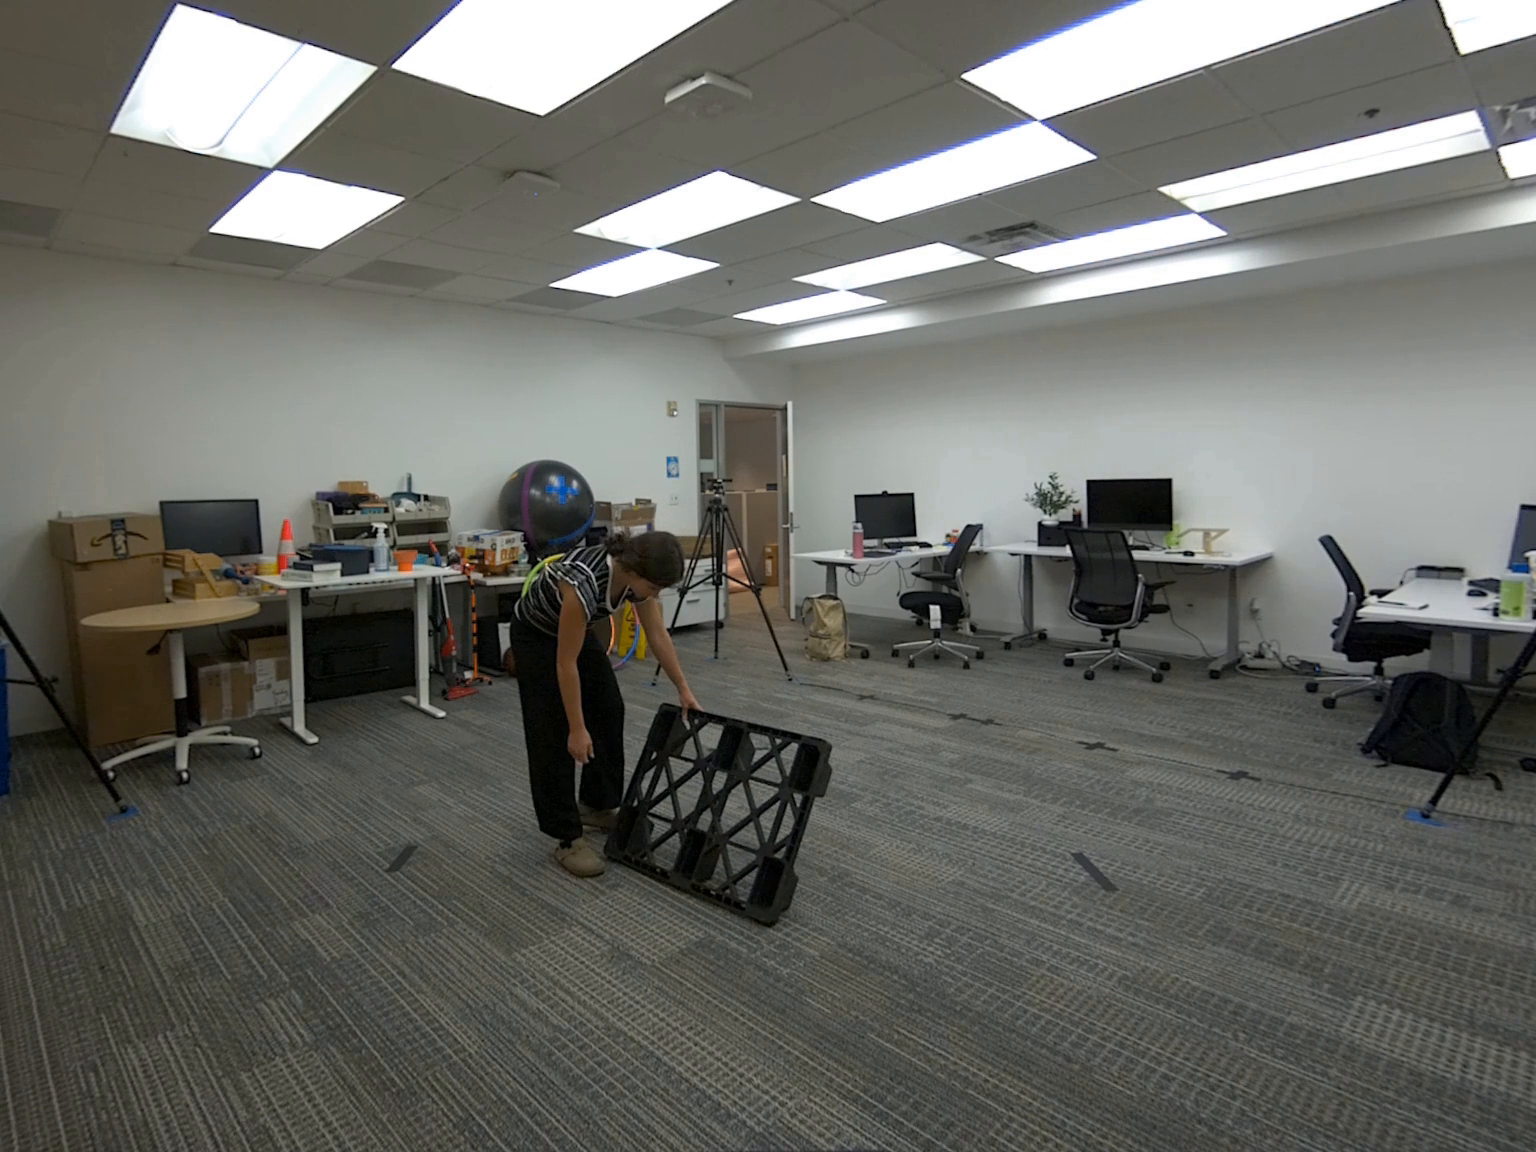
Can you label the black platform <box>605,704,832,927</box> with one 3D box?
[{"bbox_3d":[-0.172,0.815,3.053,0.830,0.611,0.138,4,-26,40],"label":"black platform"}]
